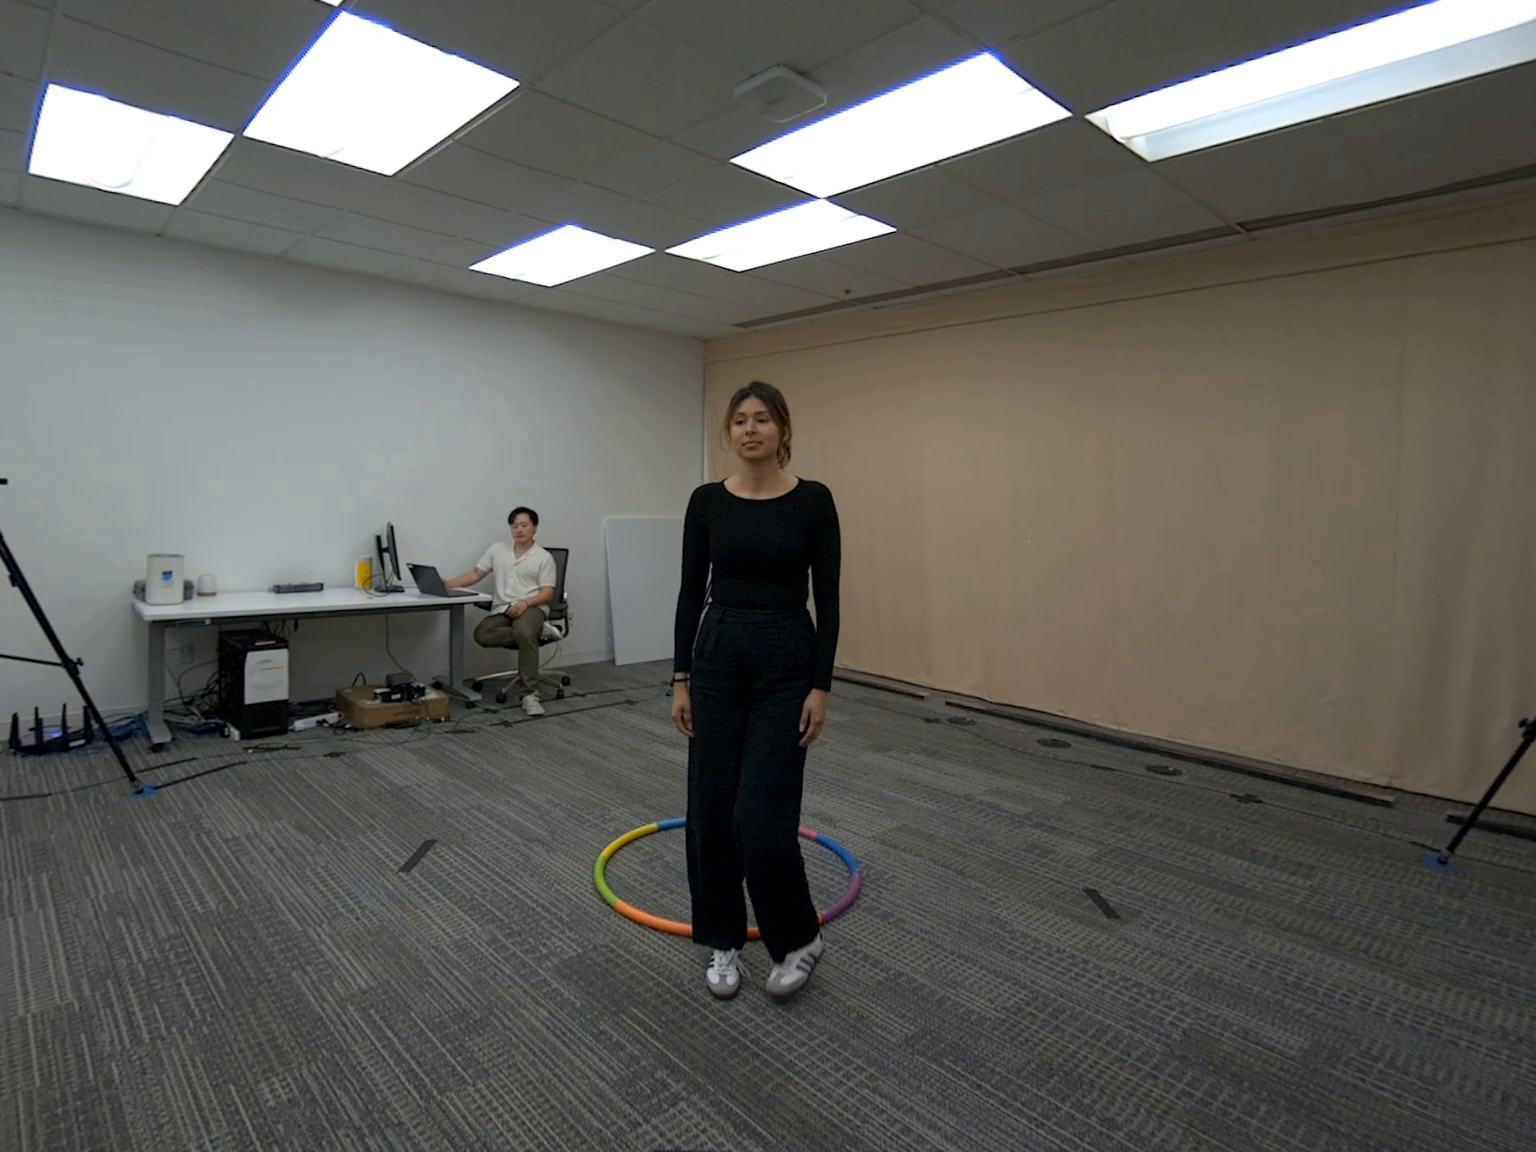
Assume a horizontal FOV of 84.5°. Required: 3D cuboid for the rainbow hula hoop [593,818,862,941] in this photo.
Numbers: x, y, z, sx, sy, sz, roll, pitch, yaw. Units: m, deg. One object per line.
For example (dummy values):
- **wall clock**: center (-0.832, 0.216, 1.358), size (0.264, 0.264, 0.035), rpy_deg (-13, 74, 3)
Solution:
- **rainbow hula hoop**: center (-0.157, 1.074, 3.131), size (0.978, 0.035, 0.982), rpy_deg (1, 5, -1)
